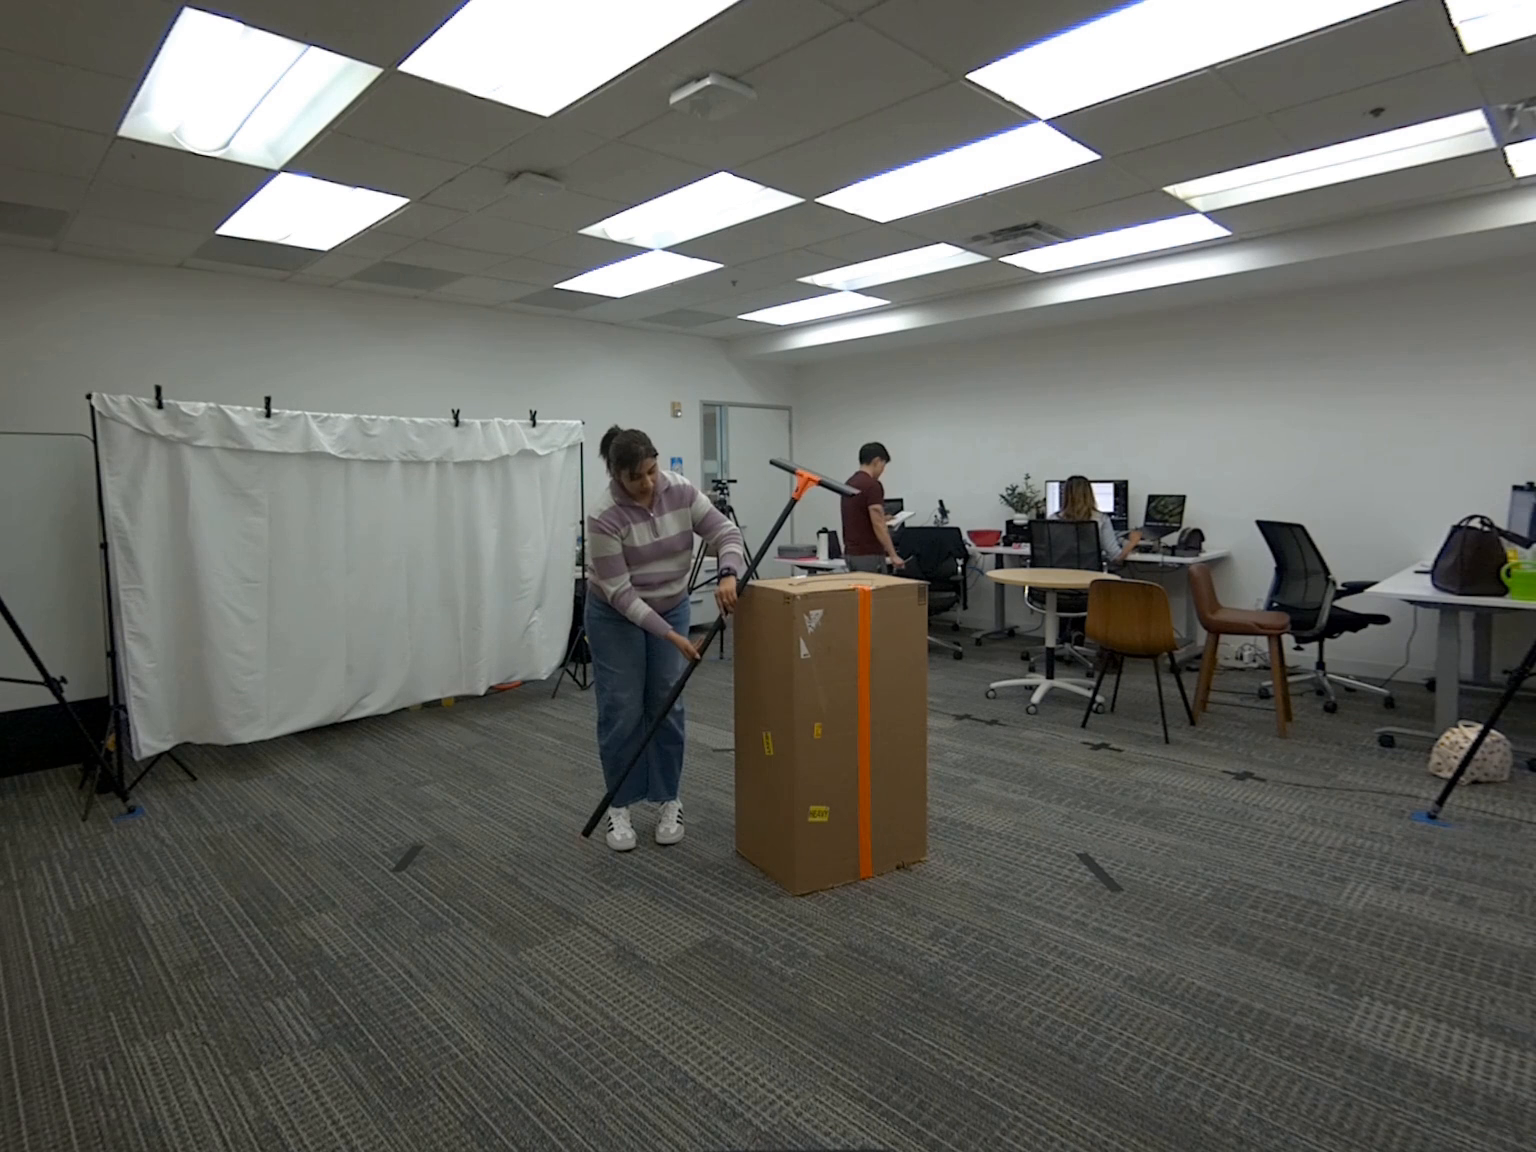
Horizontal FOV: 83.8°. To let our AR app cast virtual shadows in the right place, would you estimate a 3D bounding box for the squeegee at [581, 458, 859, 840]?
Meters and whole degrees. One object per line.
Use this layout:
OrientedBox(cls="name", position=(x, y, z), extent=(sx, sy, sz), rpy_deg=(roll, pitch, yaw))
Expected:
OrientedBox(cls="squeegee", position=(-0.244, 0.284, 3.018), extent=(0.454, 1.539, 0.051), rpy_deg=(29, -5, 43))
